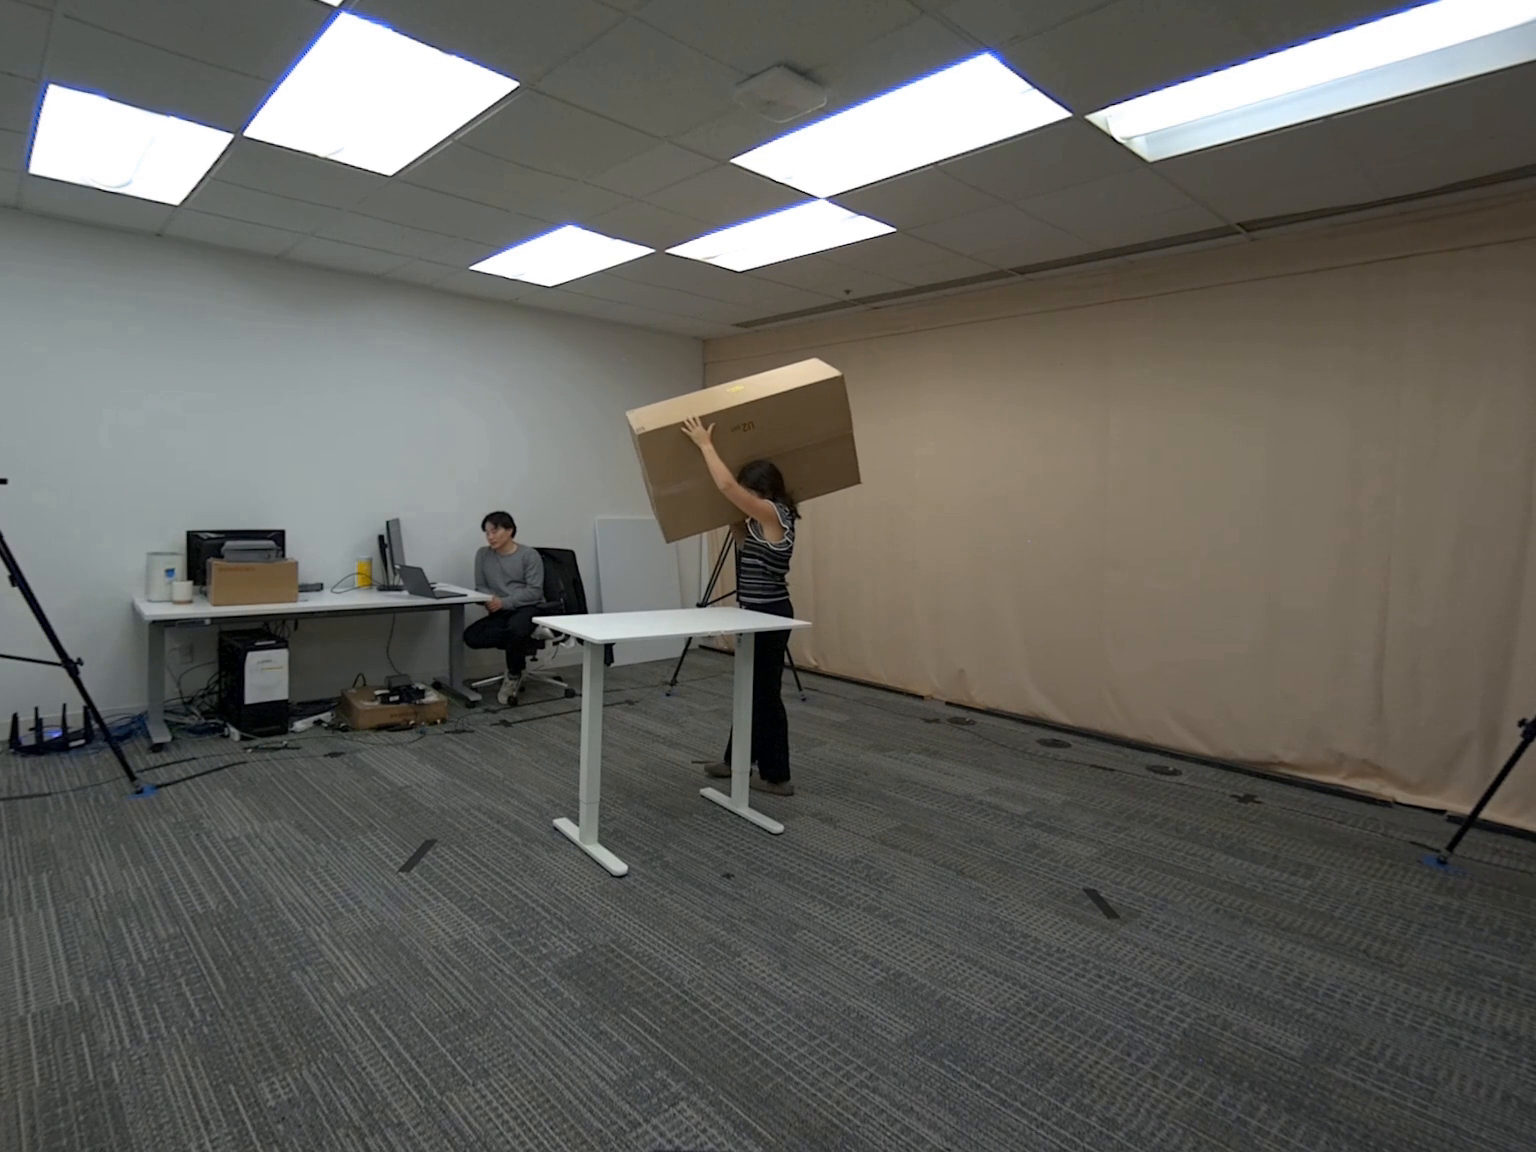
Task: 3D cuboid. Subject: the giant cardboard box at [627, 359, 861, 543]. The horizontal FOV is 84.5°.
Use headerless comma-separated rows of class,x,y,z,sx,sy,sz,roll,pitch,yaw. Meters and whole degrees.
giant cardboard box,-0.134,-0.636,4.204,1.021,0.565,0.437,-17,27,-7
